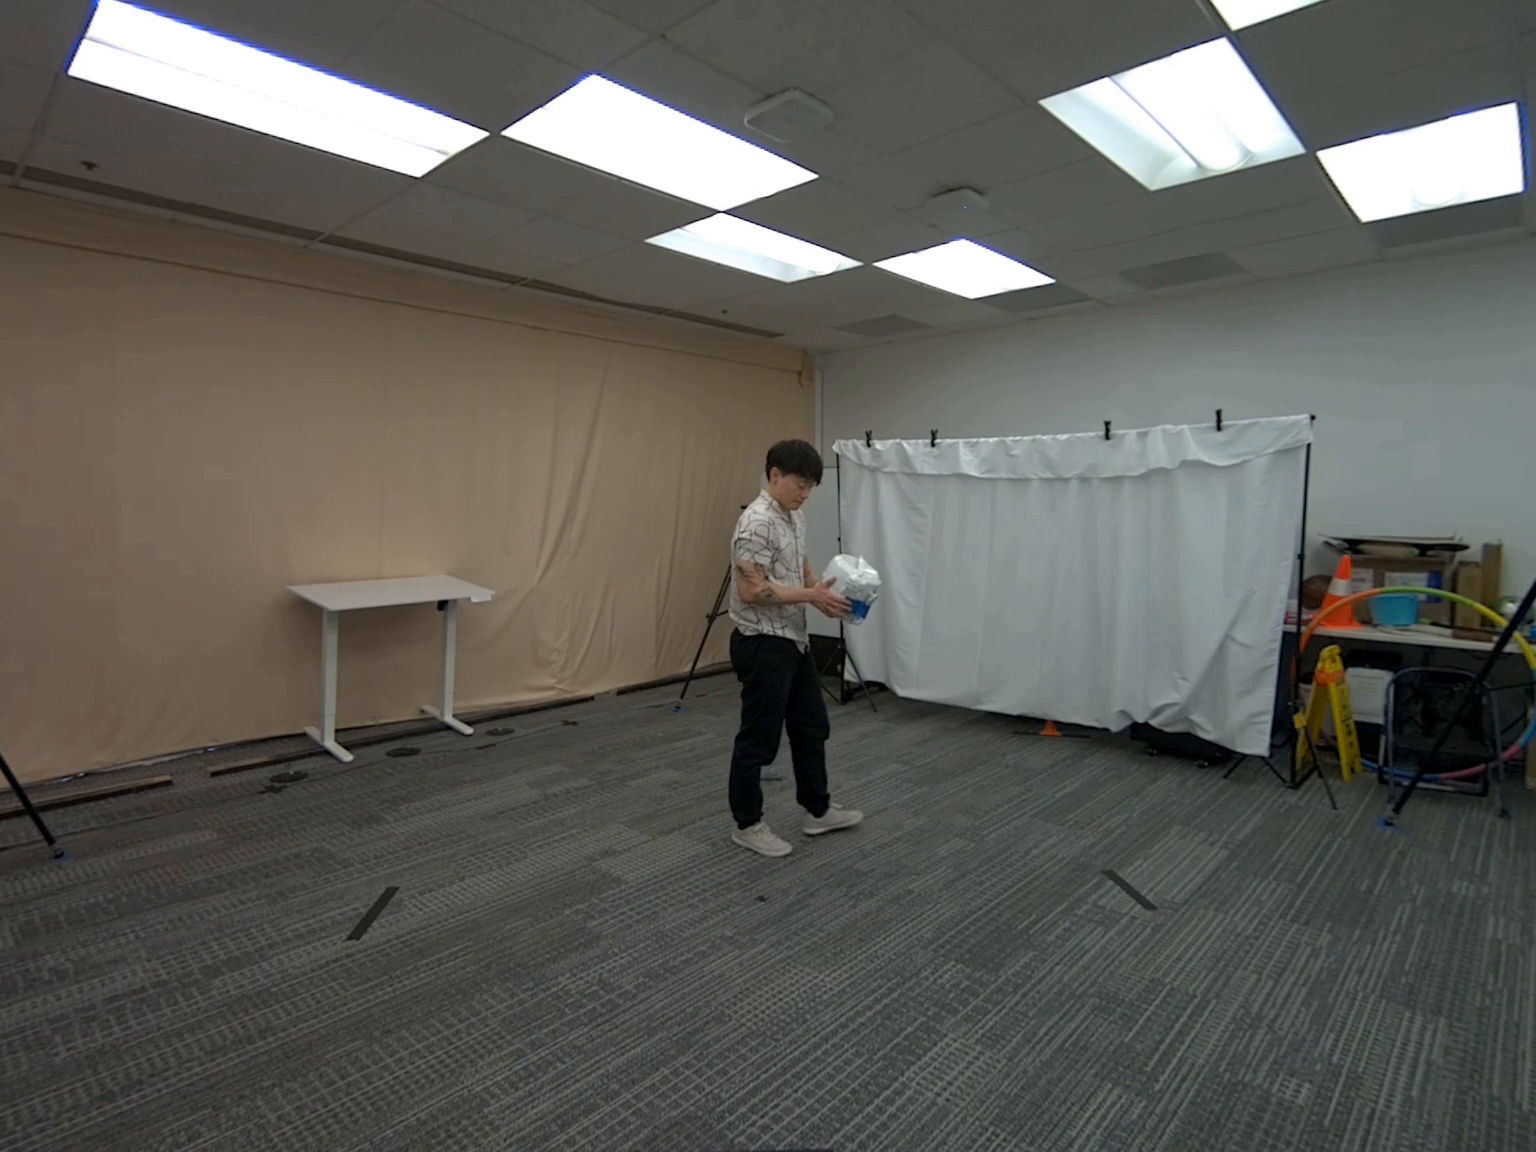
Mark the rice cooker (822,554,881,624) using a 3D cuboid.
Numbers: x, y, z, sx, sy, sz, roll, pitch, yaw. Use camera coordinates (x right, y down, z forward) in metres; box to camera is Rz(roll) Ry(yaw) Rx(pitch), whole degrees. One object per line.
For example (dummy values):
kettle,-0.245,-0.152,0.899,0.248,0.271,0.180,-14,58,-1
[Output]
rice cooker,0.315,0.036,3.247,0.217,0.232,0.221,27,19,-2
